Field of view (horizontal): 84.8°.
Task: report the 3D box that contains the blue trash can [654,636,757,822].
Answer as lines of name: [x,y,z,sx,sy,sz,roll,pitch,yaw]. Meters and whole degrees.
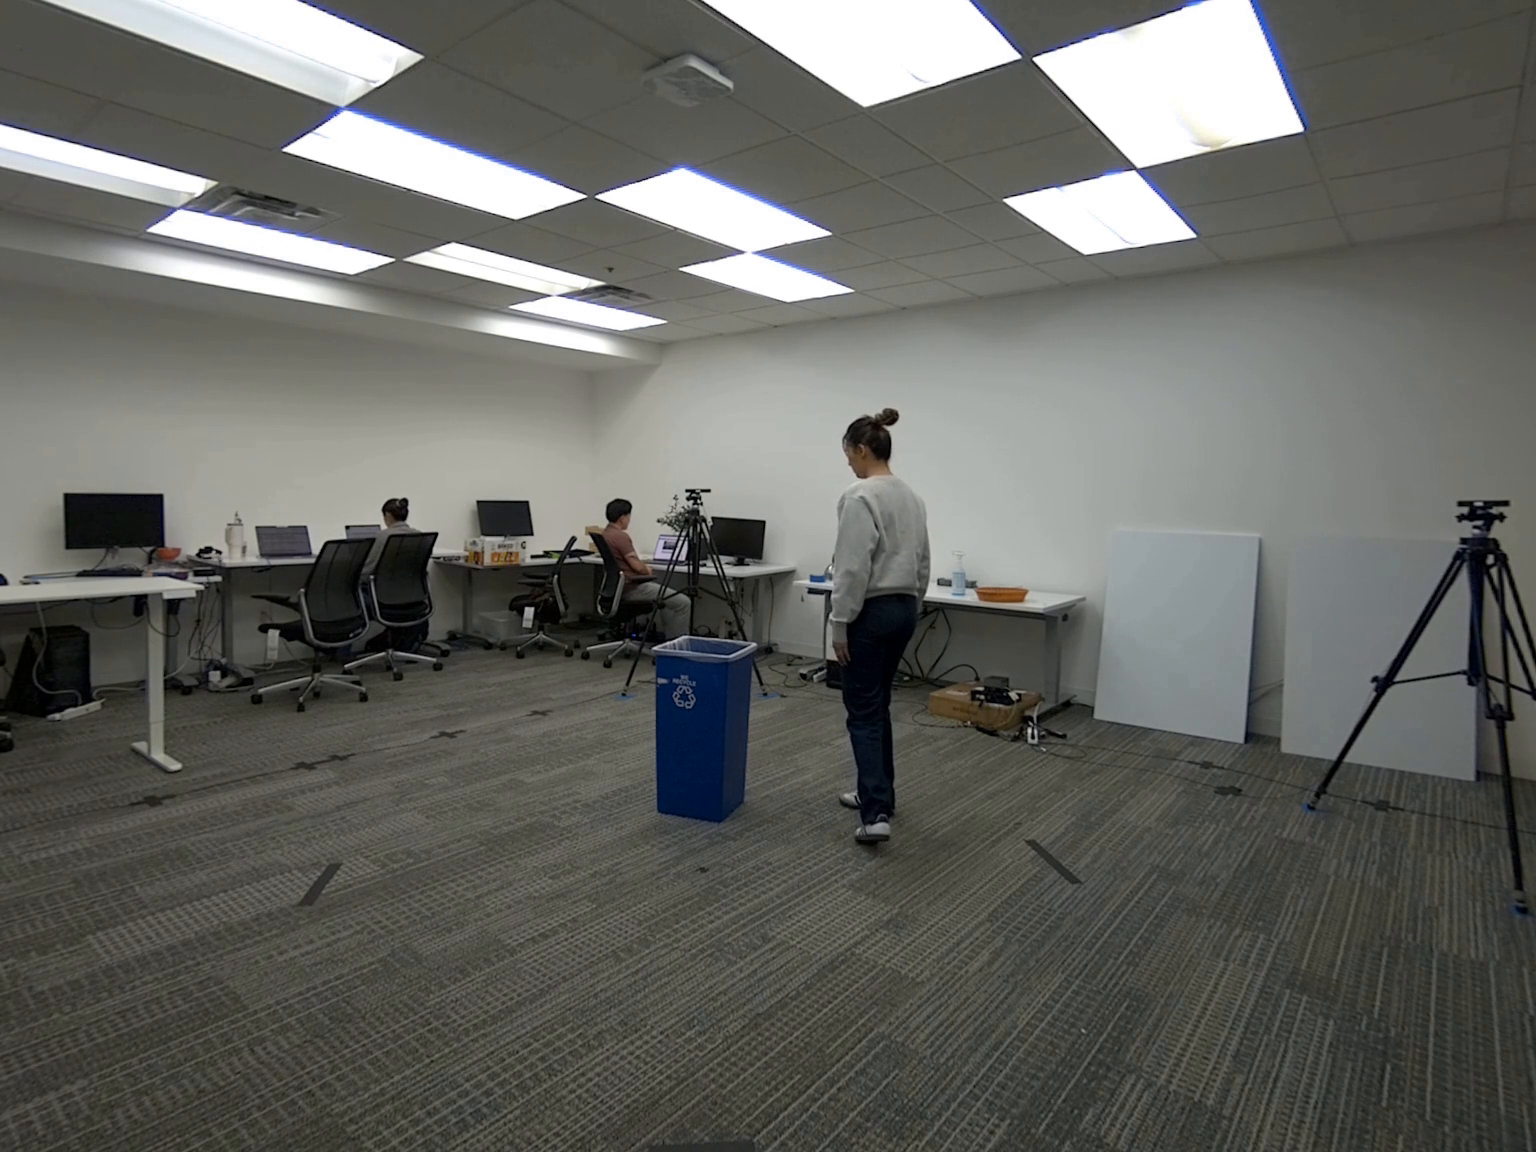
blue trash can: [-0.288,0.656,3.732,0.382,0.711,0.371,2,4,20]
